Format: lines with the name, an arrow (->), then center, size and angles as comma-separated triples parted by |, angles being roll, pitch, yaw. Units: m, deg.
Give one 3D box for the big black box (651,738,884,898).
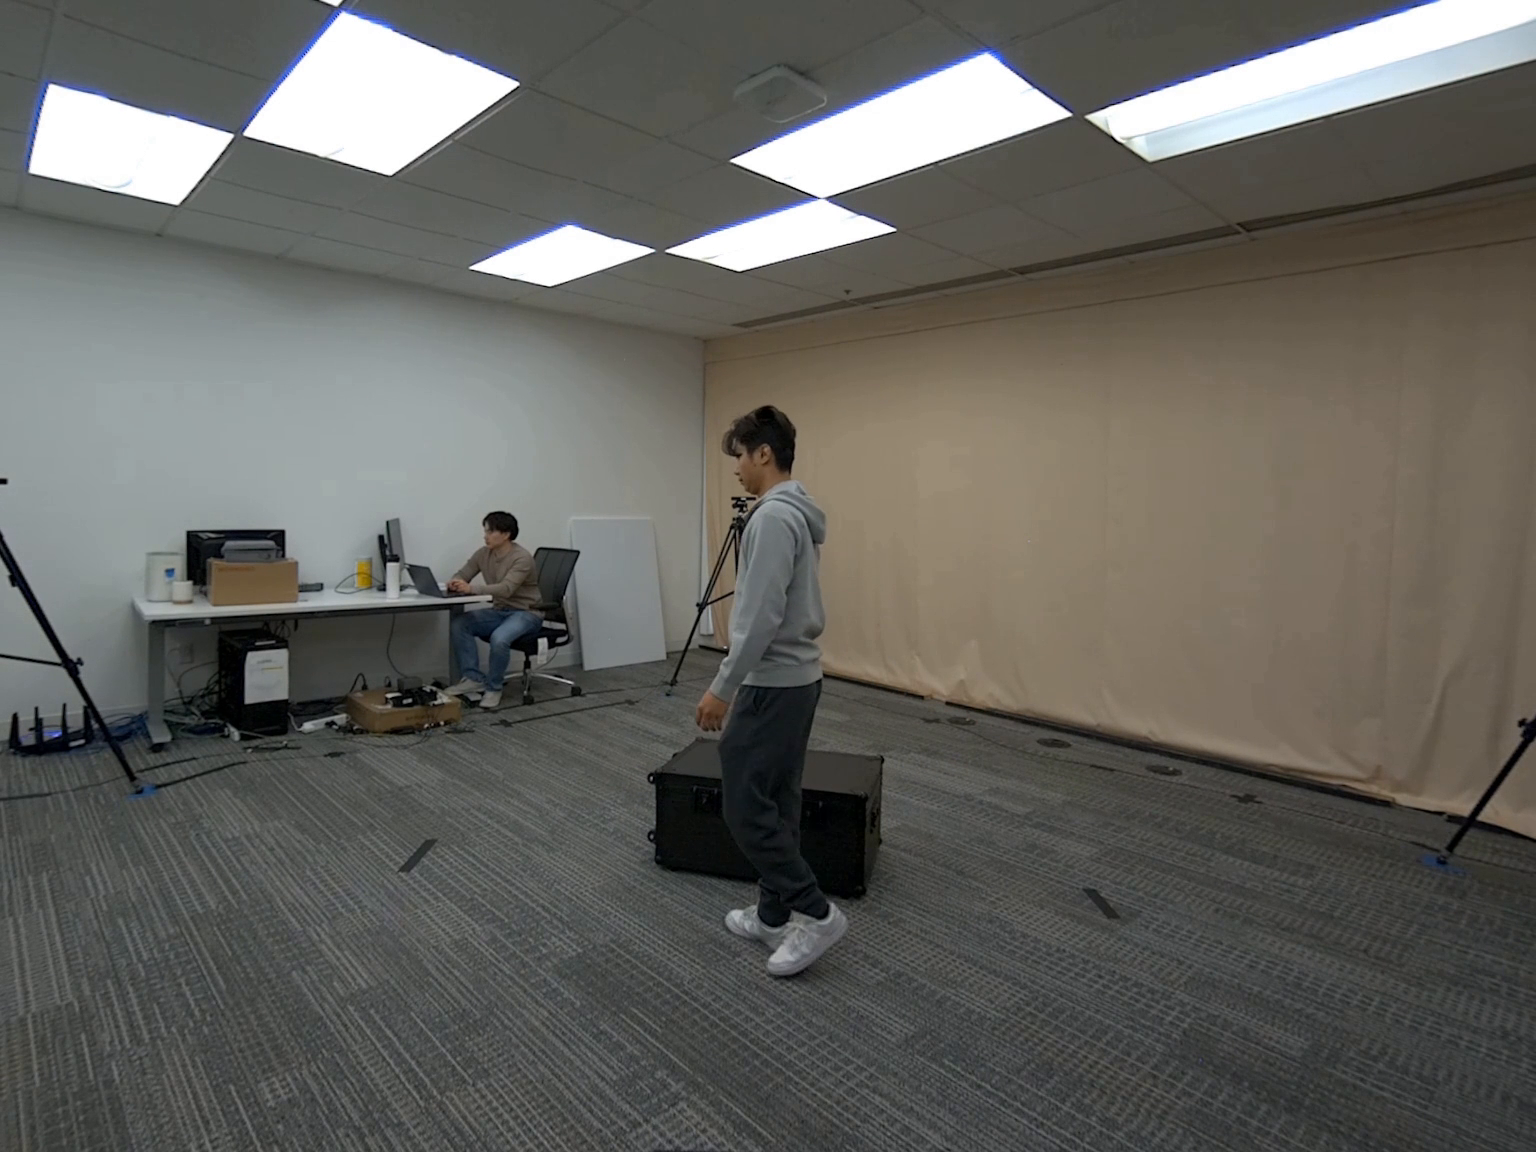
big black box -> -0.019, 0.901, 3.255 | 0.873, 0.395, 0.515 | 3, 5, 16
